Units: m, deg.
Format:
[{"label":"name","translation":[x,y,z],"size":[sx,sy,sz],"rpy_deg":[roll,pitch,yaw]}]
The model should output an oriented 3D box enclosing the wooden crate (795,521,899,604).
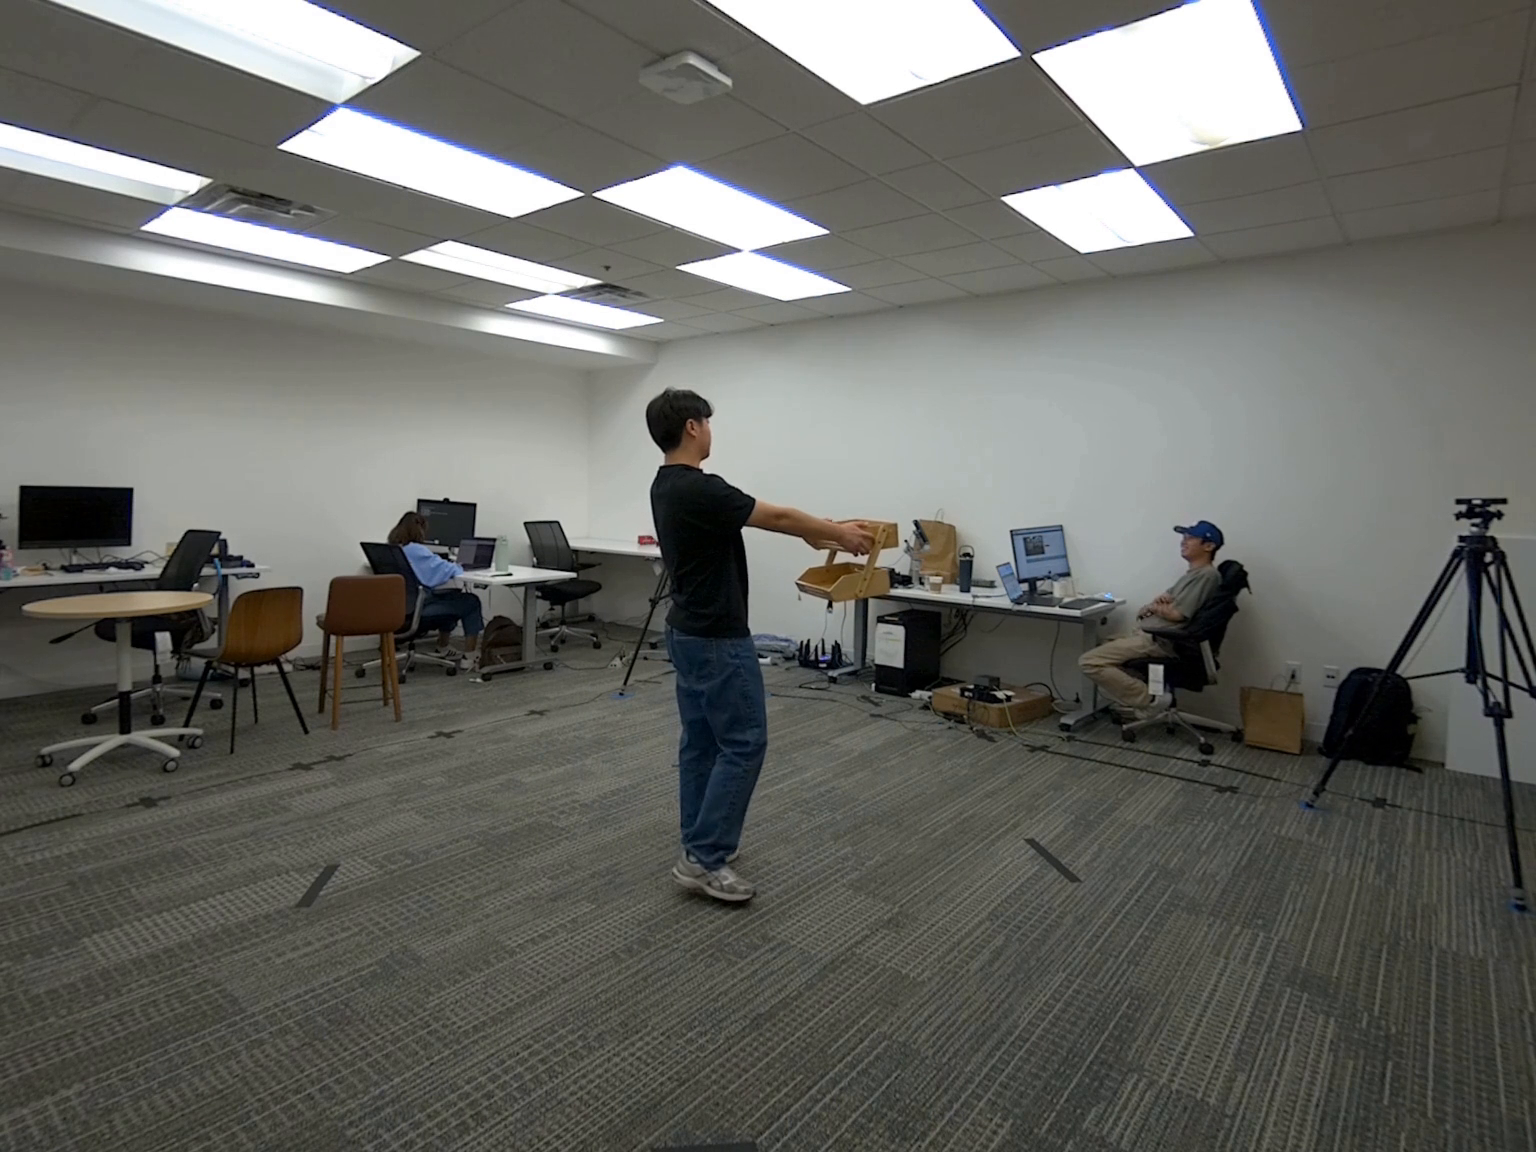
[{"label":"wooden crate","translation":[0.284,-0.072,3.264],"size":[0.296,0.271,0.333],"rpy_deg":[-7,8,-21]}]
